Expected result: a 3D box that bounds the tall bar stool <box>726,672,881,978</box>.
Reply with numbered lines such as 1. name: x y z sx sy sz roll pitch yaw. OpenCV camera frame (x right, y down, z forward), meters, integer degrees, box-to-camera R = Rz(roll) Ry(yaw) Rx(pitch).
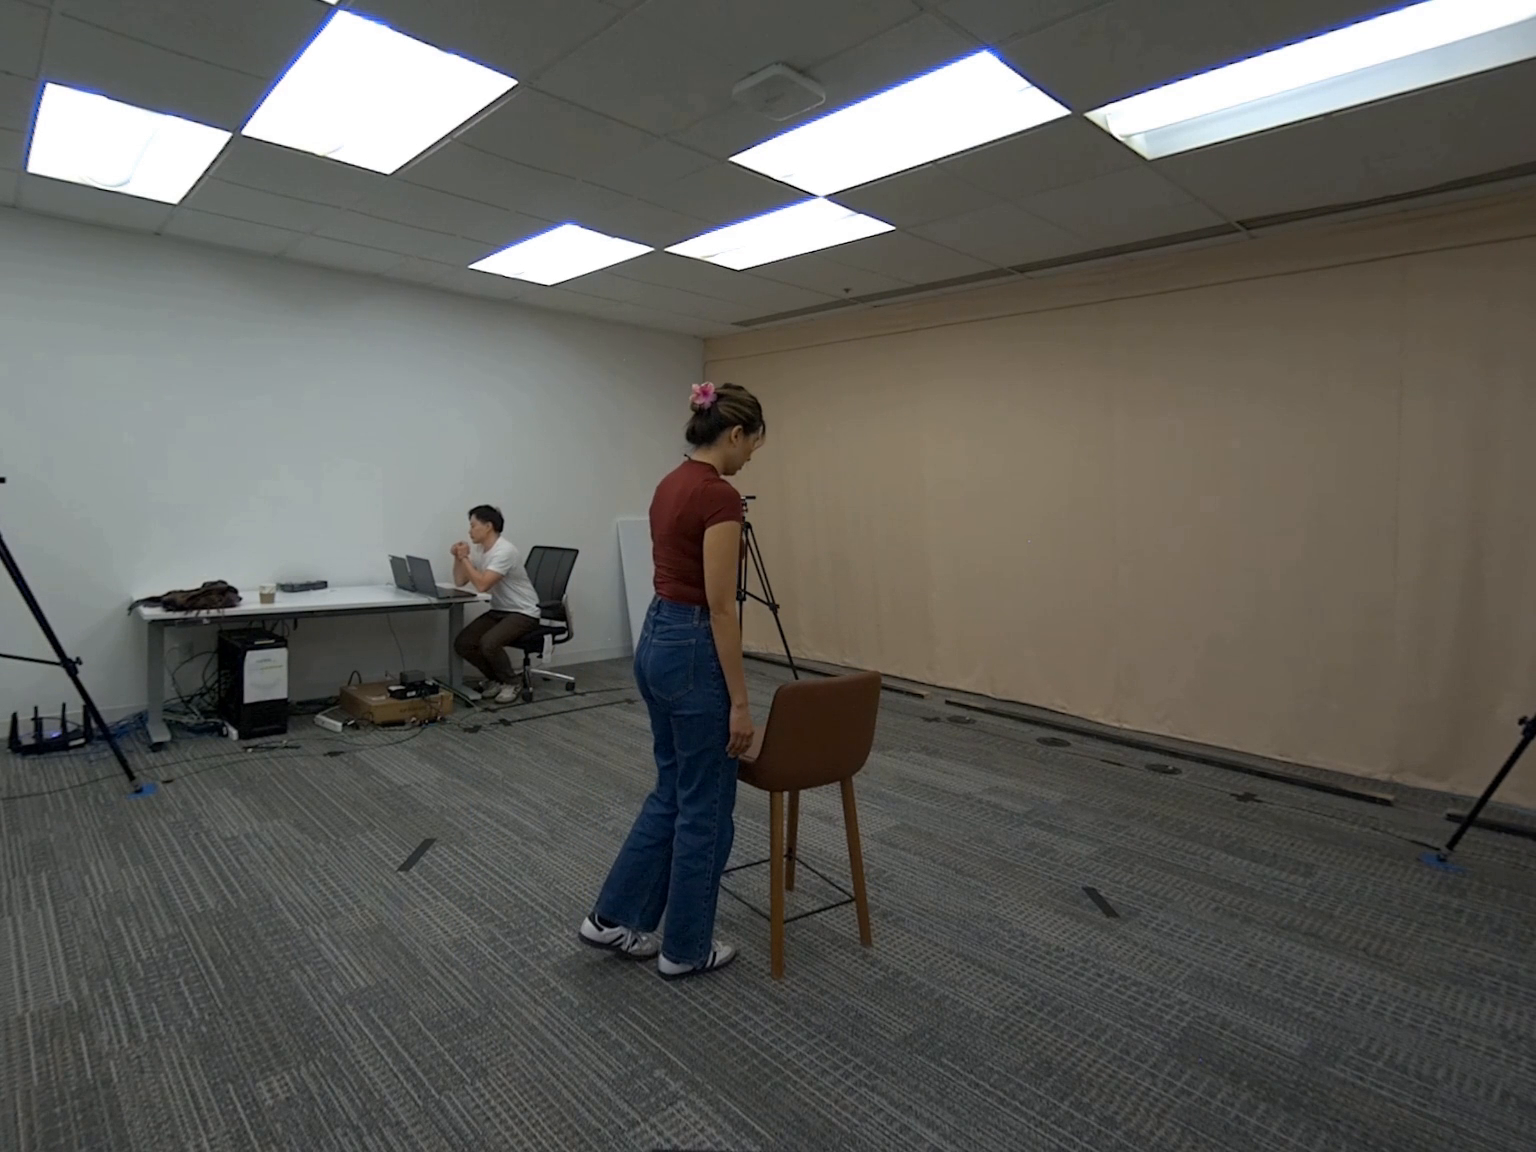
1. tall bar stool: 0.057 0.712 2.691 0.447 0.886 0.479 -1 6 -35
